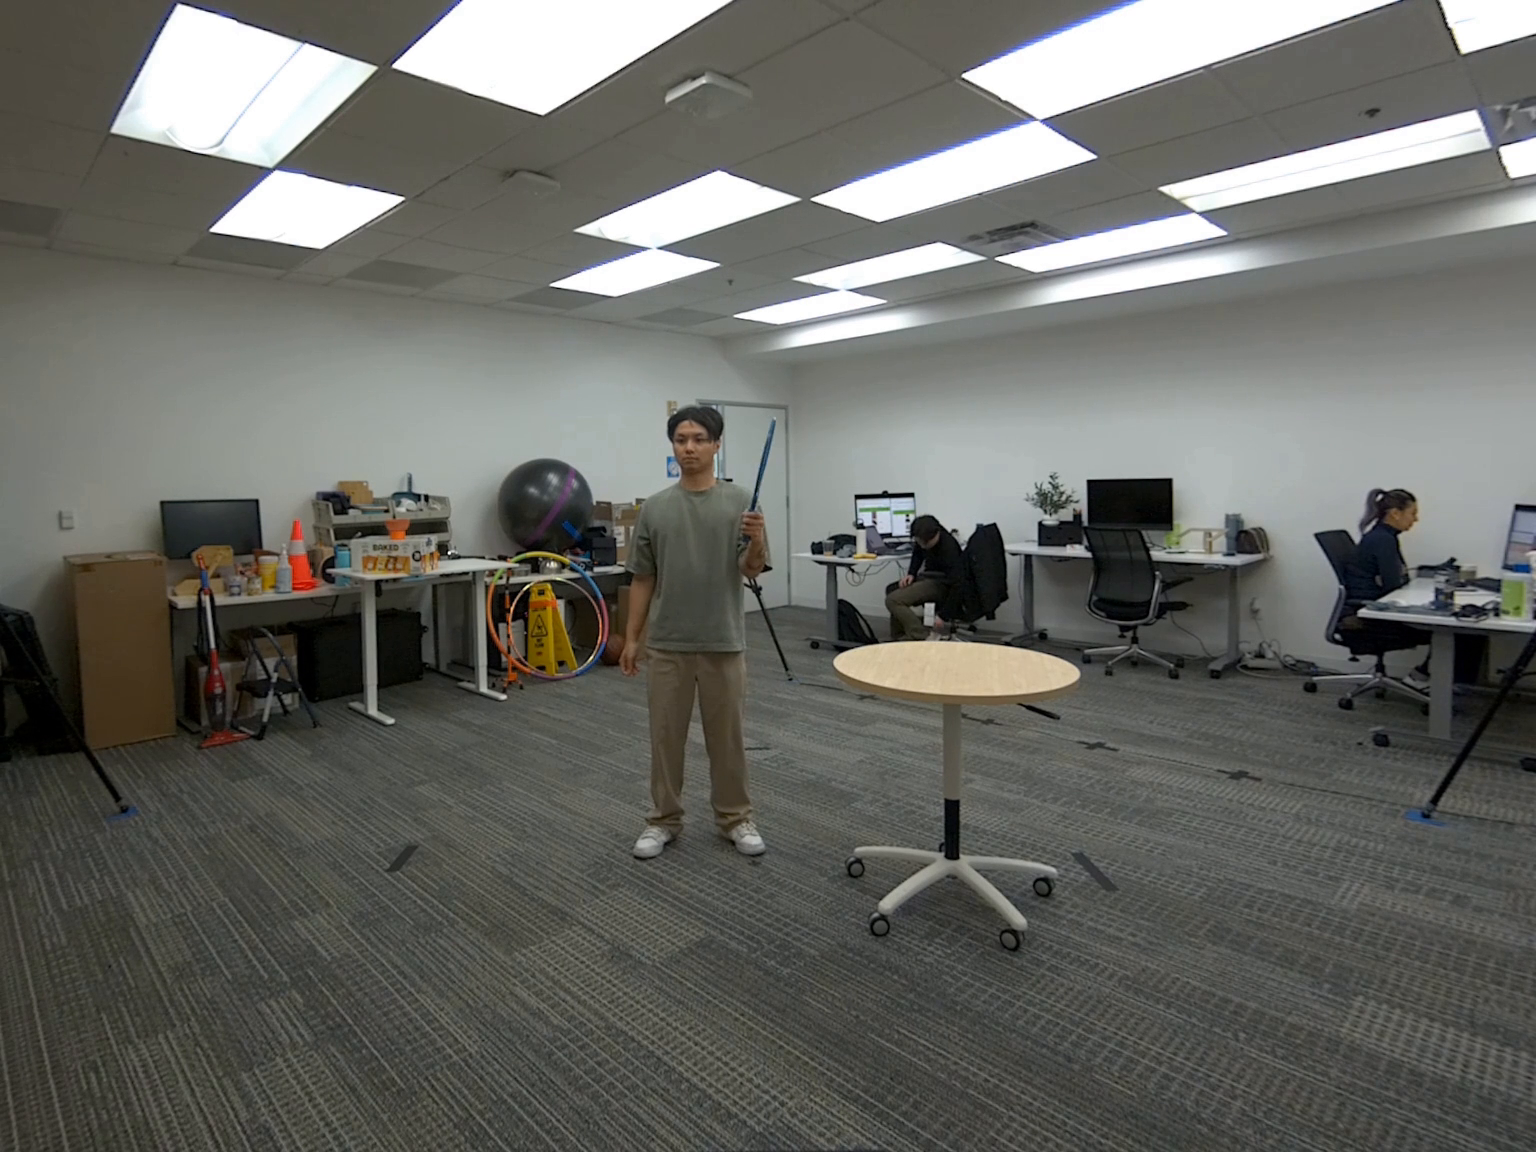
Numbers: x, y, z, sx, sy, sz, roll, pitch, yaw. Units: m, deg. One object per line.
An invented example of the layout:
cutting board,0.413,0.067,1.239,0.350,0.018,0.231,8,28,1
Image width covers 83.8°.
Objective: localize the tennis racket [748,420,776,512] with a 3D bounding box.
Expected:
tennis racket,-0.027,-0.307,2.787,0.032,0.426,0.216,14,23,2
